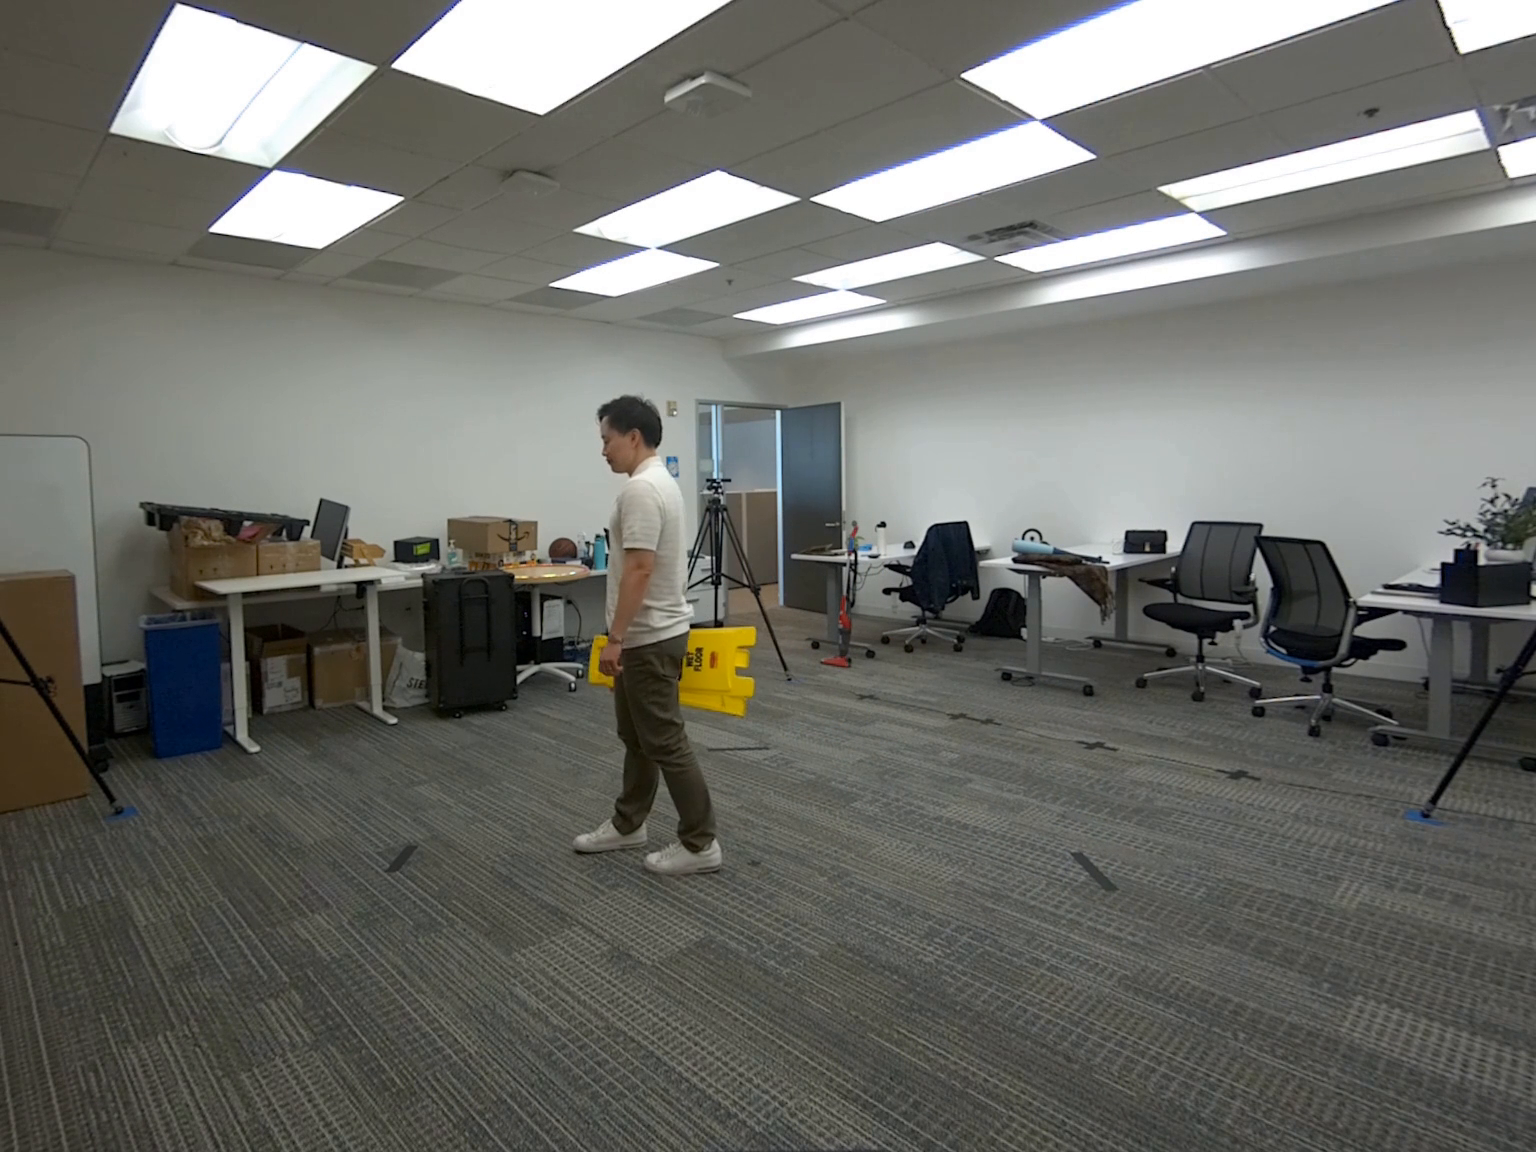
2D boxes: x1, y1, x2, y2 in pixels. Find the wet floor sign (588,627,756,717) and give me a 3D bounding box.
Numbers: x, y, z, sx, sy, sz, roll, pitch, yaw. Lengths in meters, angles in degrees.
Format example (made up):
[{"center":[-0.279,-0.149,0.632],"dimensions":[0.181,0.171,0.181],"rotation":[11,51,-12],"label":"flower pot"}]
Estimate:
[{"center":[-0.390,0.358,3.428],"dimensions":[0.644,0.287,0.285],"rotation":[5,-23,-3],"label":"wet floor sign"}]
